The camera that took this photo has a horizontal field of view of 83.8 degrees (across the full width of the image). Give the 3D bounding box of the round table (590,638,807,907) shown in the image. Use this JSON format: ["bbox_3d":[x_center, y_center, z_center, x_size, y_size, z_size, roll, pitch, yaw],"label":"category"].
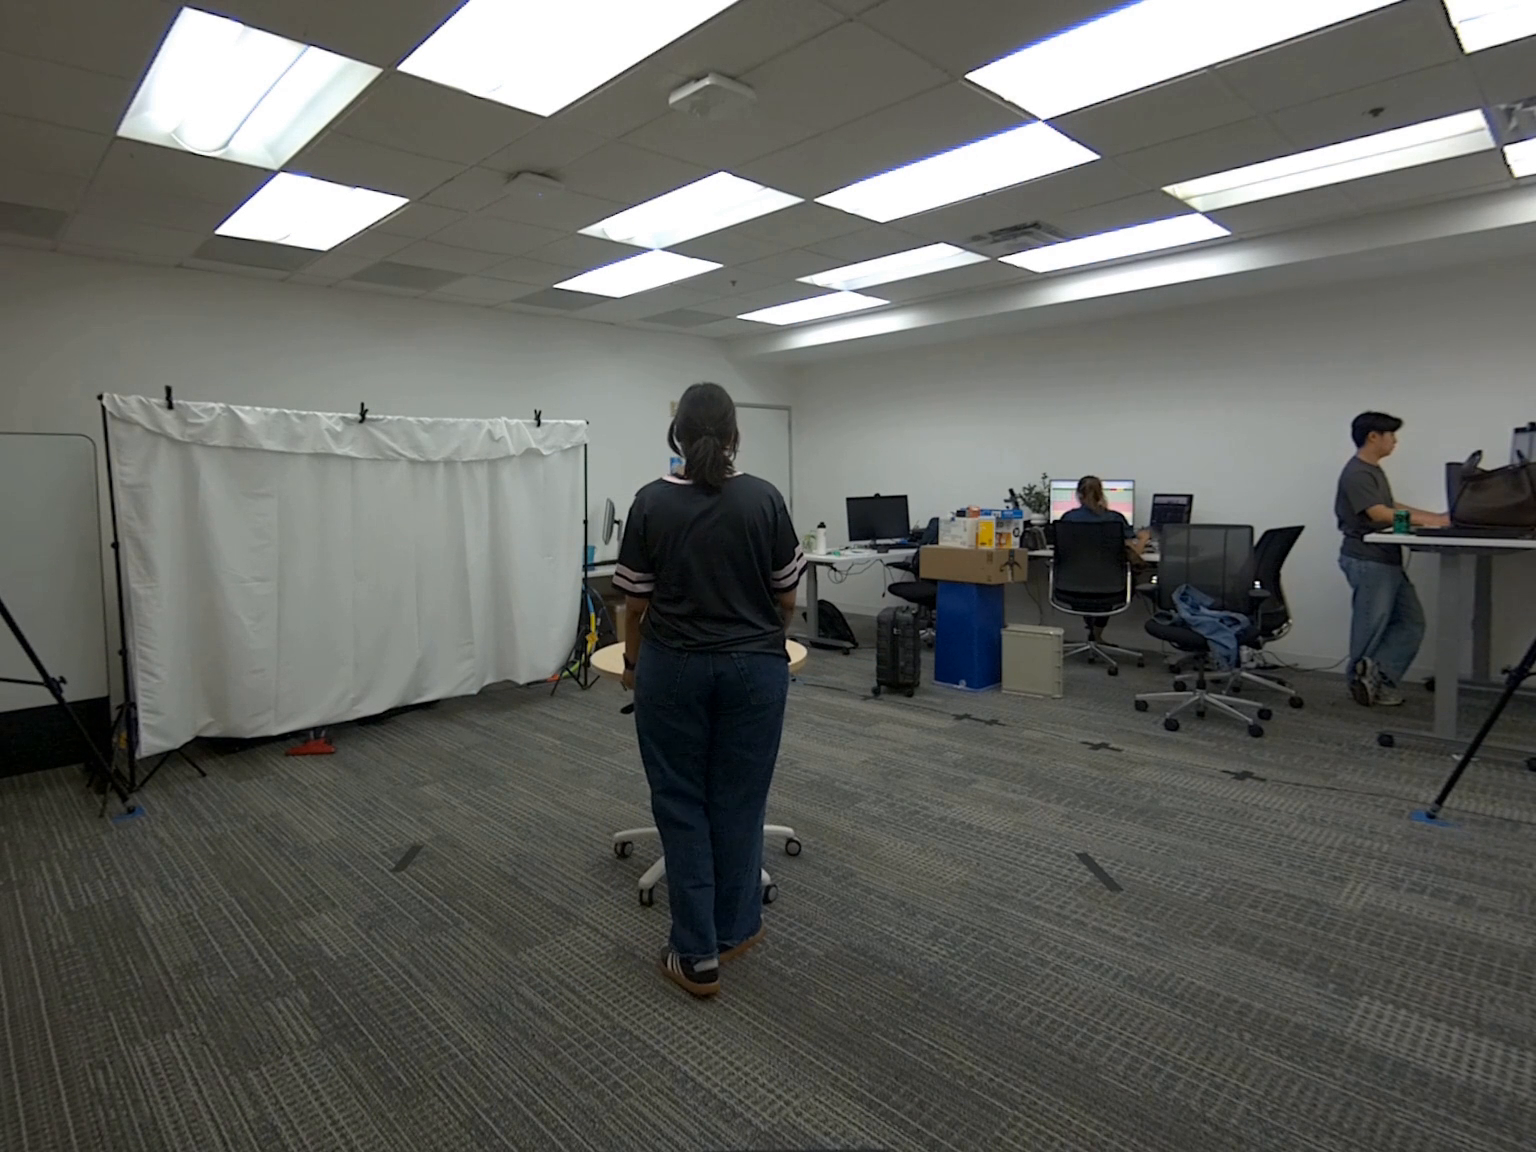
[{"bbox_3d":[-0.222,0.668,3.061,0.763,0.790,0.768,-2,5,-2],"label":"round table"}]
